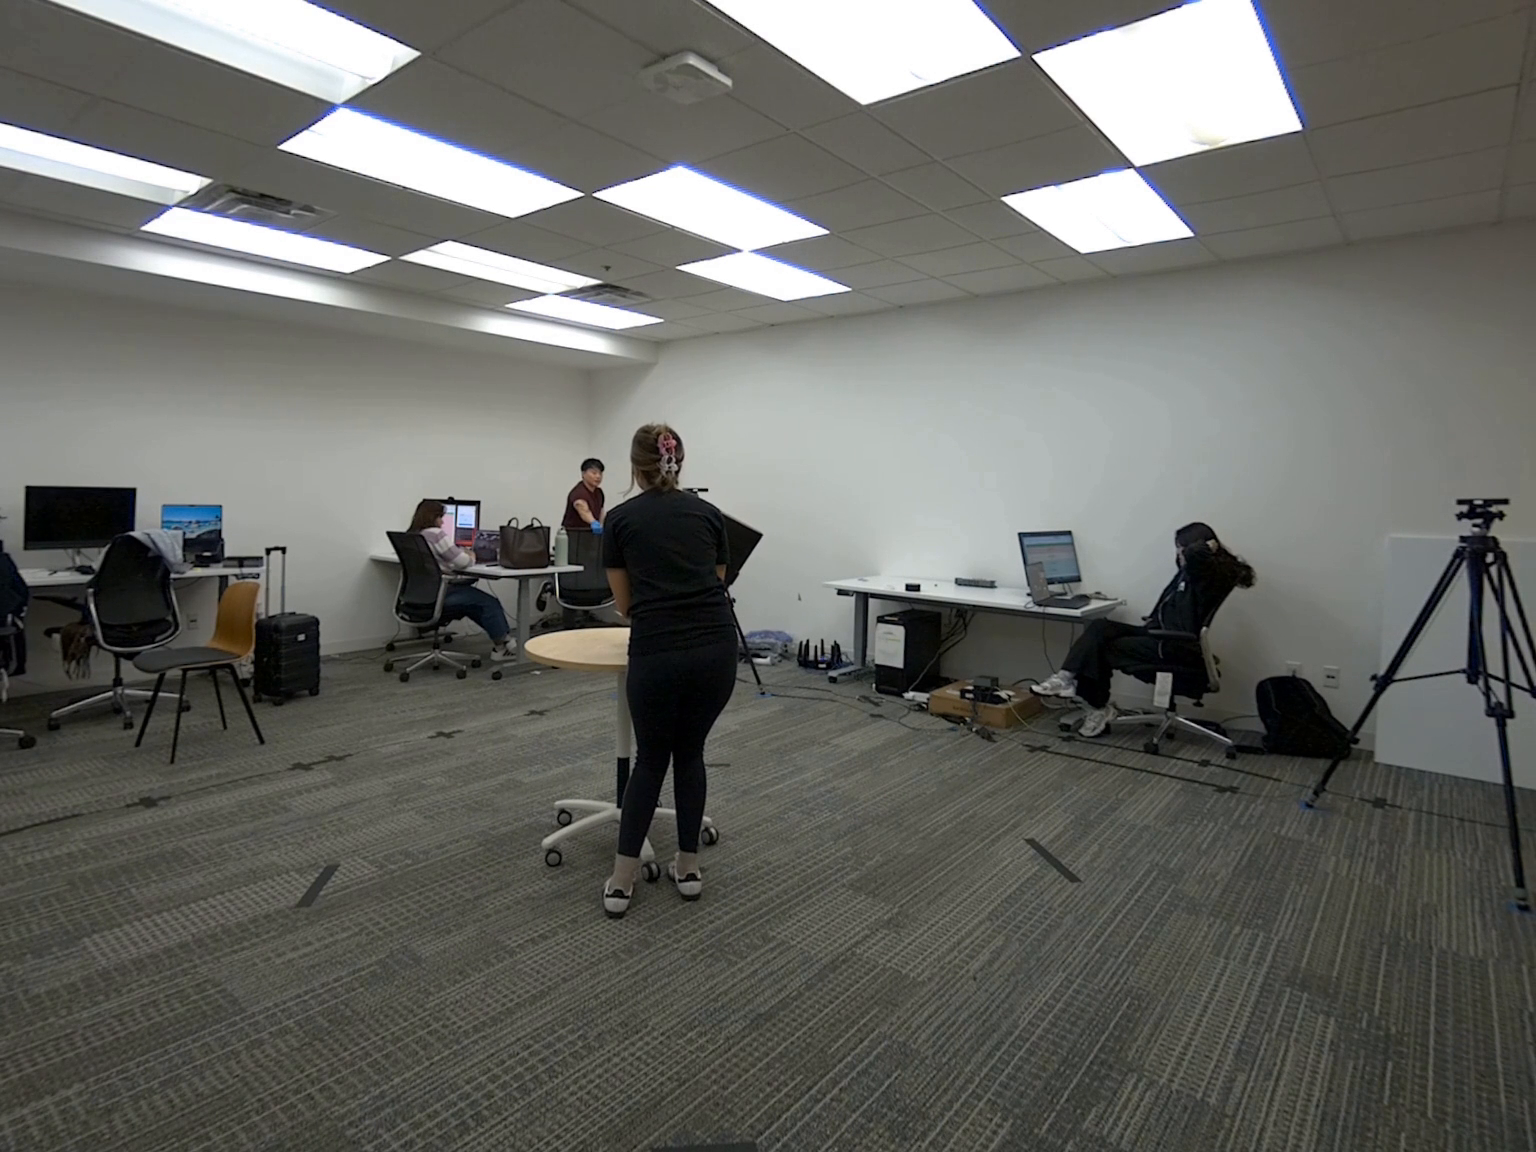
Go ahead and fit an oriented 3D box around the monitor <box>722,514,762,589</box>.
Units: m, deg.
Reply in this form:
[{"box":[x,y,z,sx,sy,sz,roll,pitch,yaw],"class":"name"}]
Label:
[{"box":[-0.354,-0.036,3.321,0.519,0.523,0.194,26,-1,-35],"class":"monitor"}]
